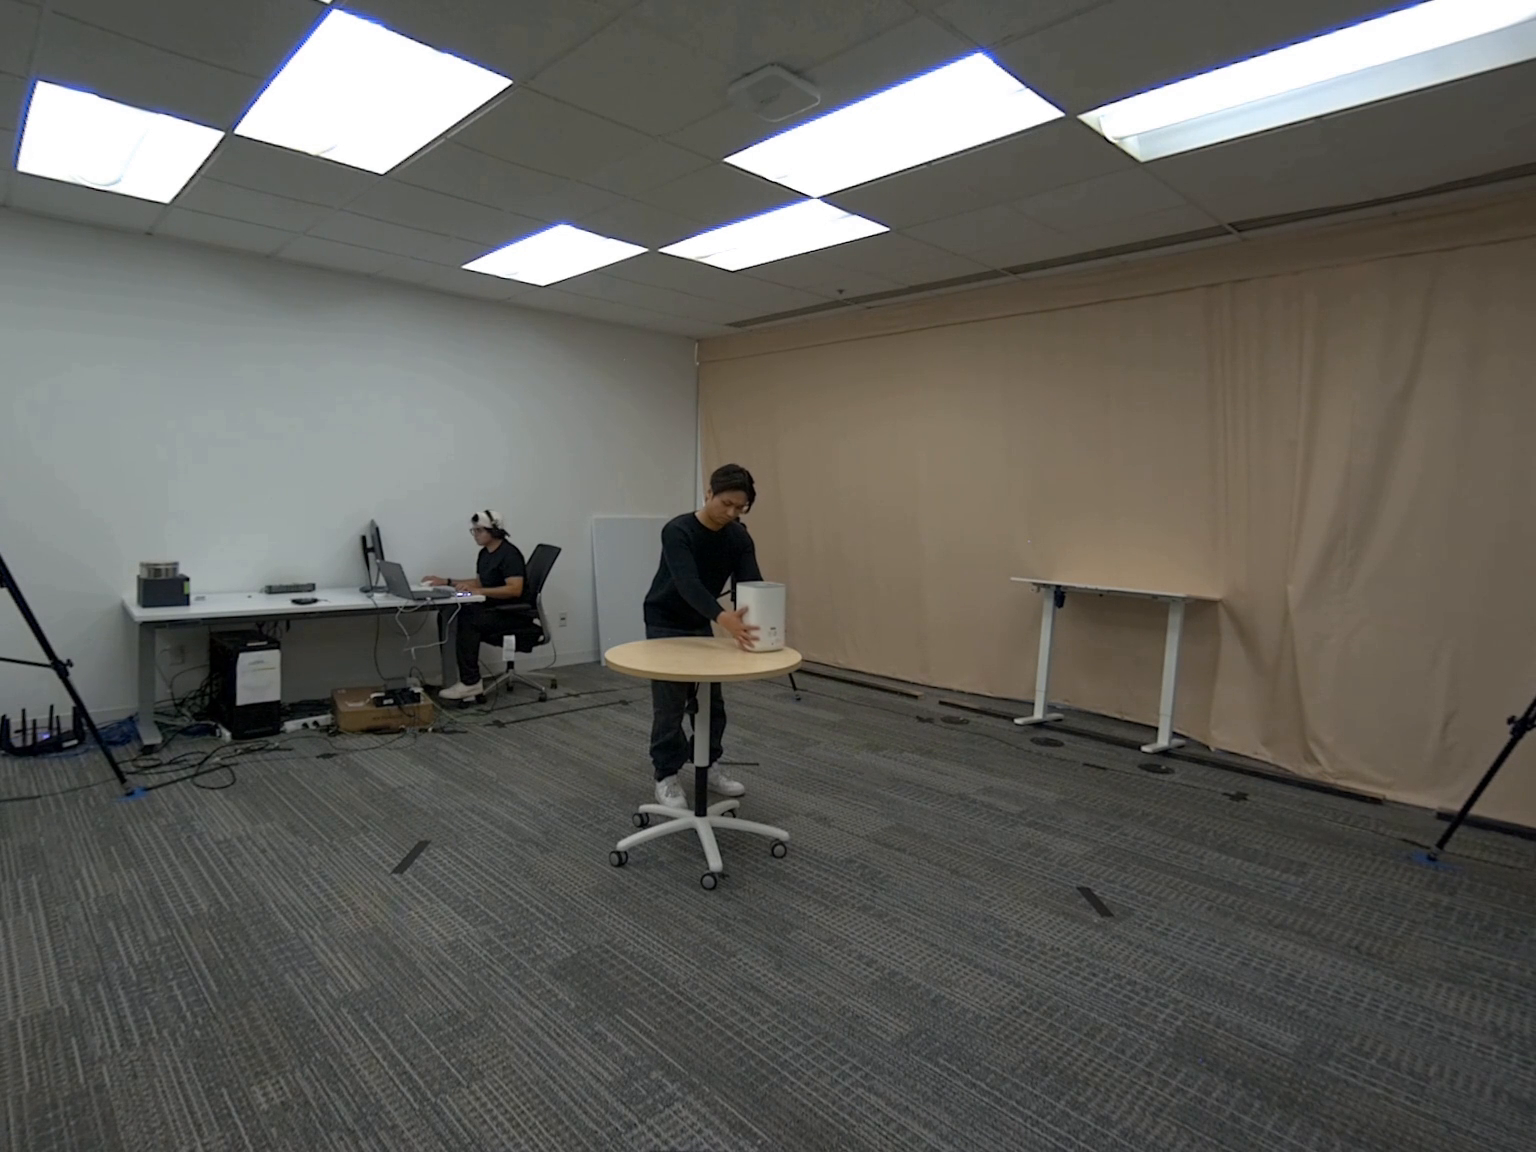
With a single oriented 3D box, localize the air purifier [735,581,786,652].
[{"bbox_3d":[-0.040,0.163,3.402,0.167,0.264,0.176,-3,6,-37],"label":"air purifier"}]
